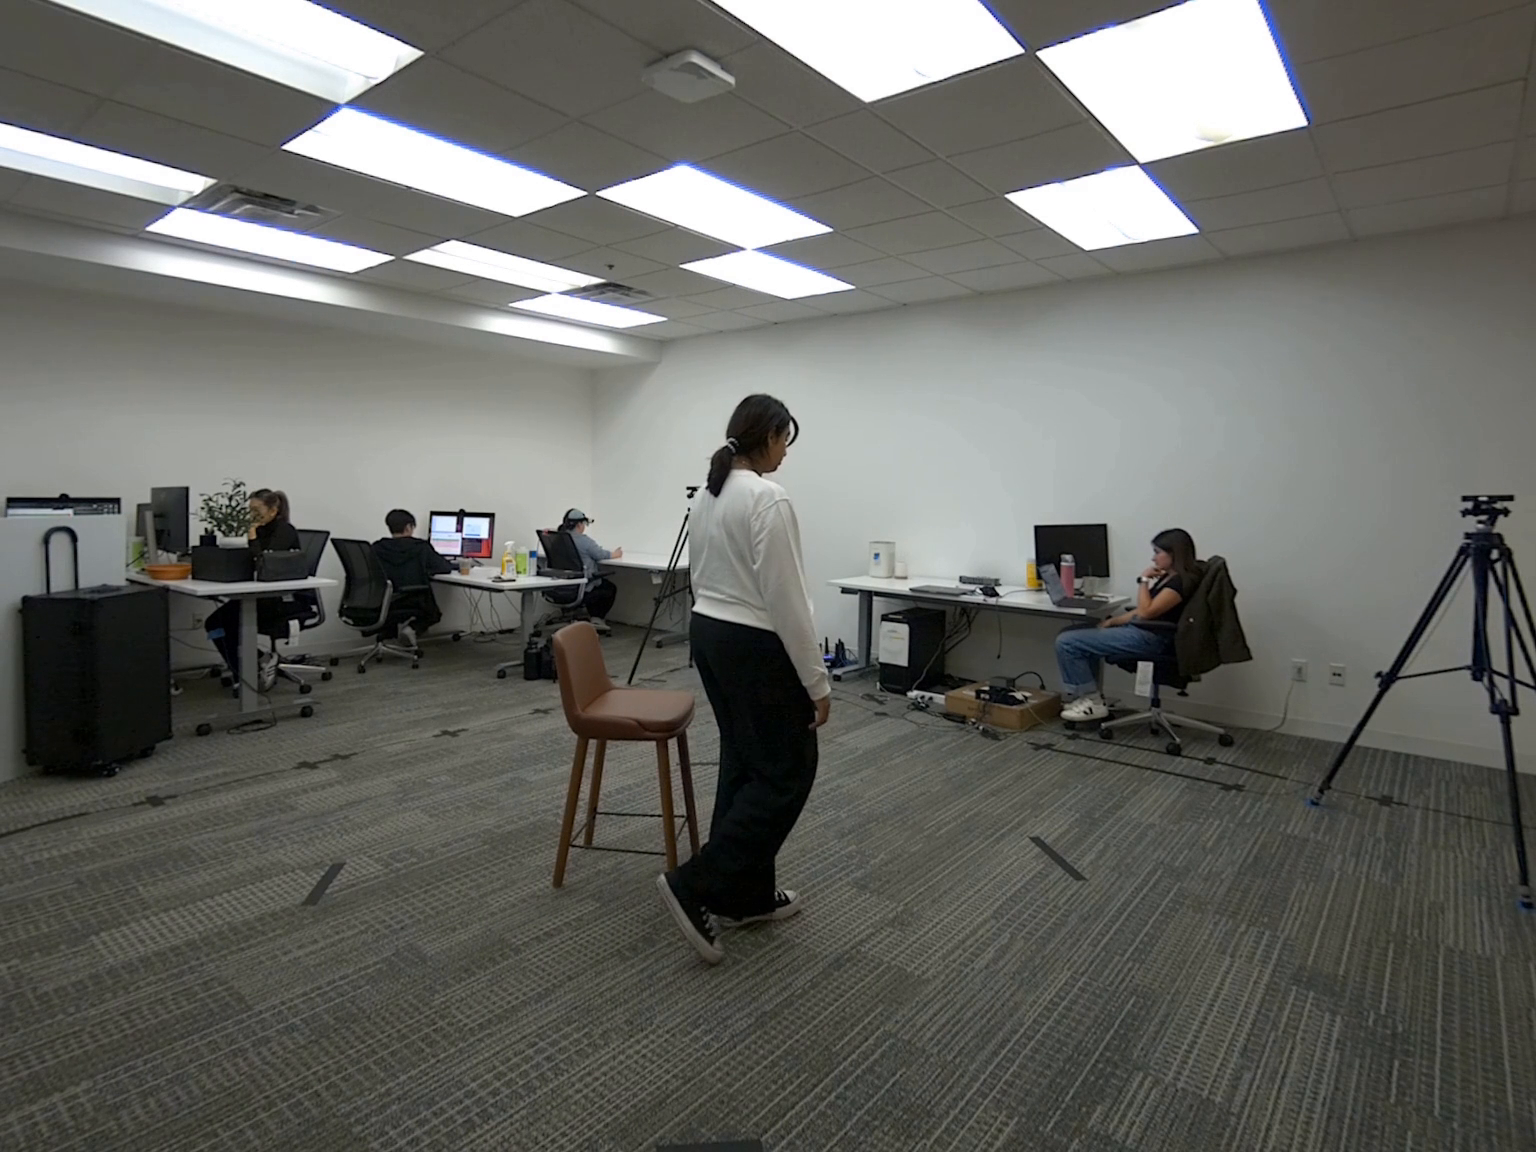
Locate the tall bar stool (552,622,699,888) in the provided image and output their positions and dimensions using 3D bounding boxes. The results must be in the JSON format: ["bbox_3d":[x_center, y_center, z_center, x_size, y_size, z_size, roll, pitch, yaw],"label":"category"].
[{"bbox_3d":[-0.504,0.628,3.070,0.473,0.888,0.453,0,3,9],"label":"tall bar stool"}]
